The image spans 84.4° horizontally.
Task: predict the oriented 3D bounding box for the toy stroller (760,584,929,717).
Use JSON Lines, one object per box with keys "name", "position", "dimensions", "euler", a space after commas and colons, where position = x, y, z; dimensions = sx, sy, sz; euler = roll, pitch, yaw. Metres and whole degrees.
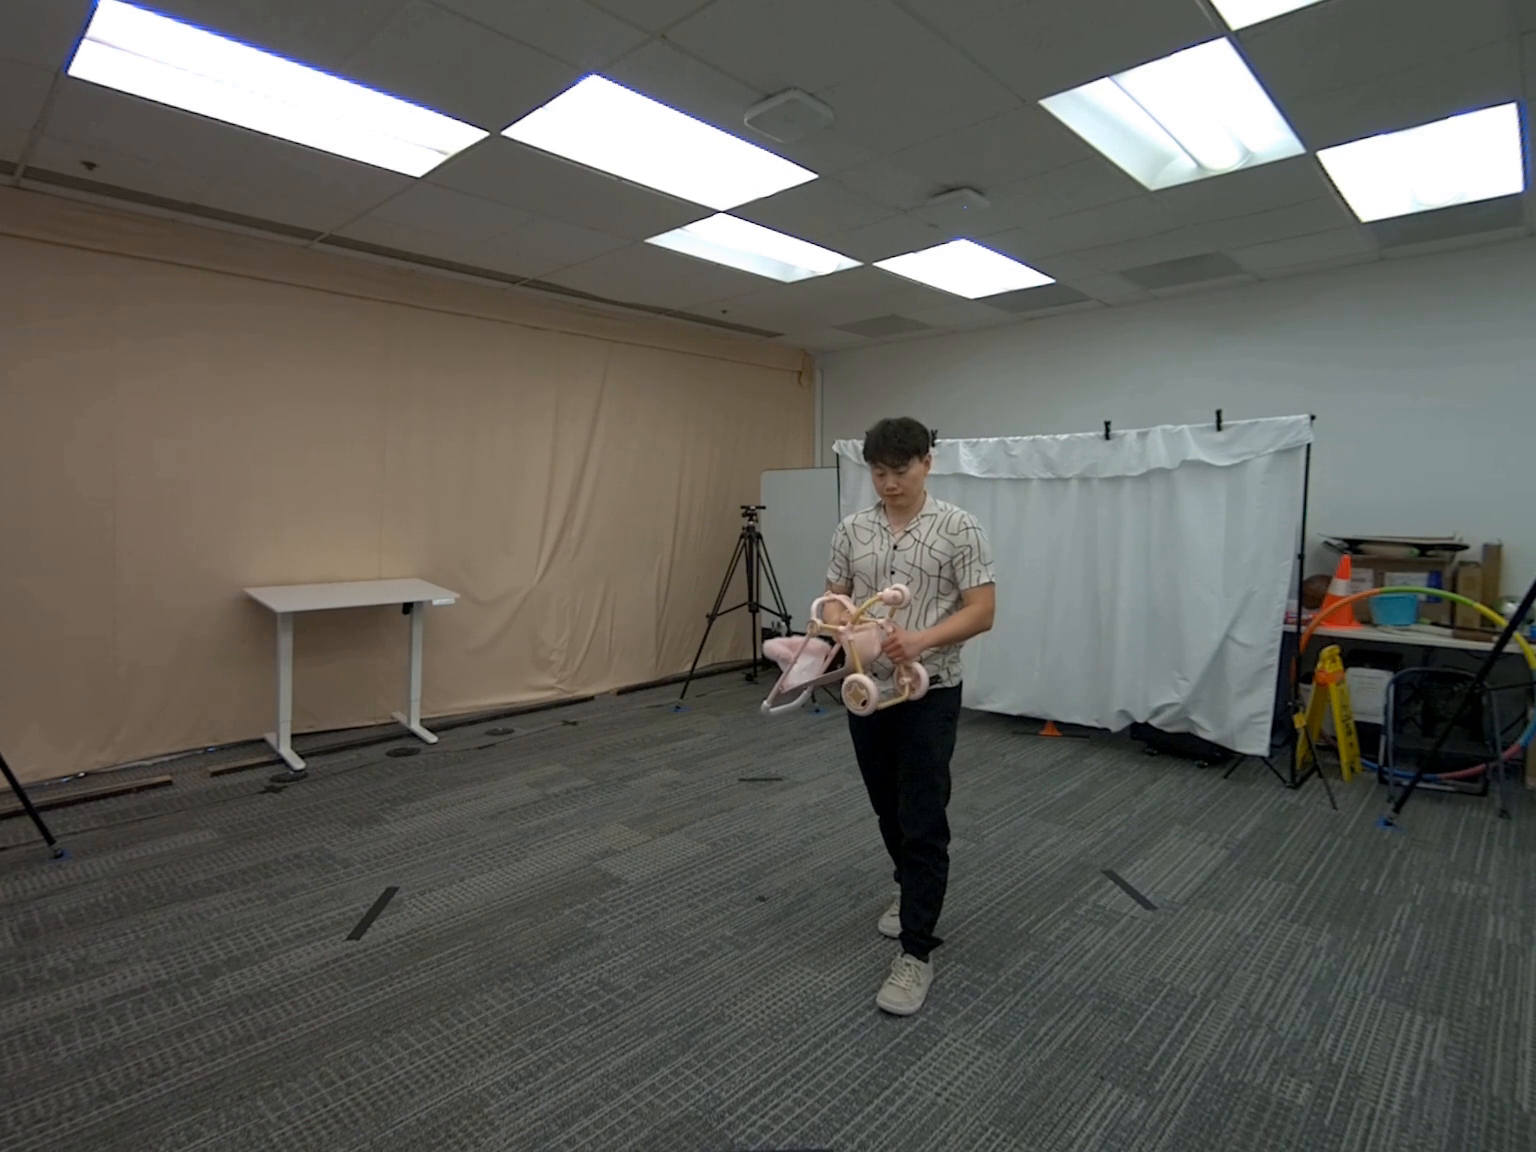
{"name": "toy stroller", "position": [0.204, 0.219, 2.377], "dimensions": [0.550, 0.342, 0.273], "euler": [-12, -1, 44]}
